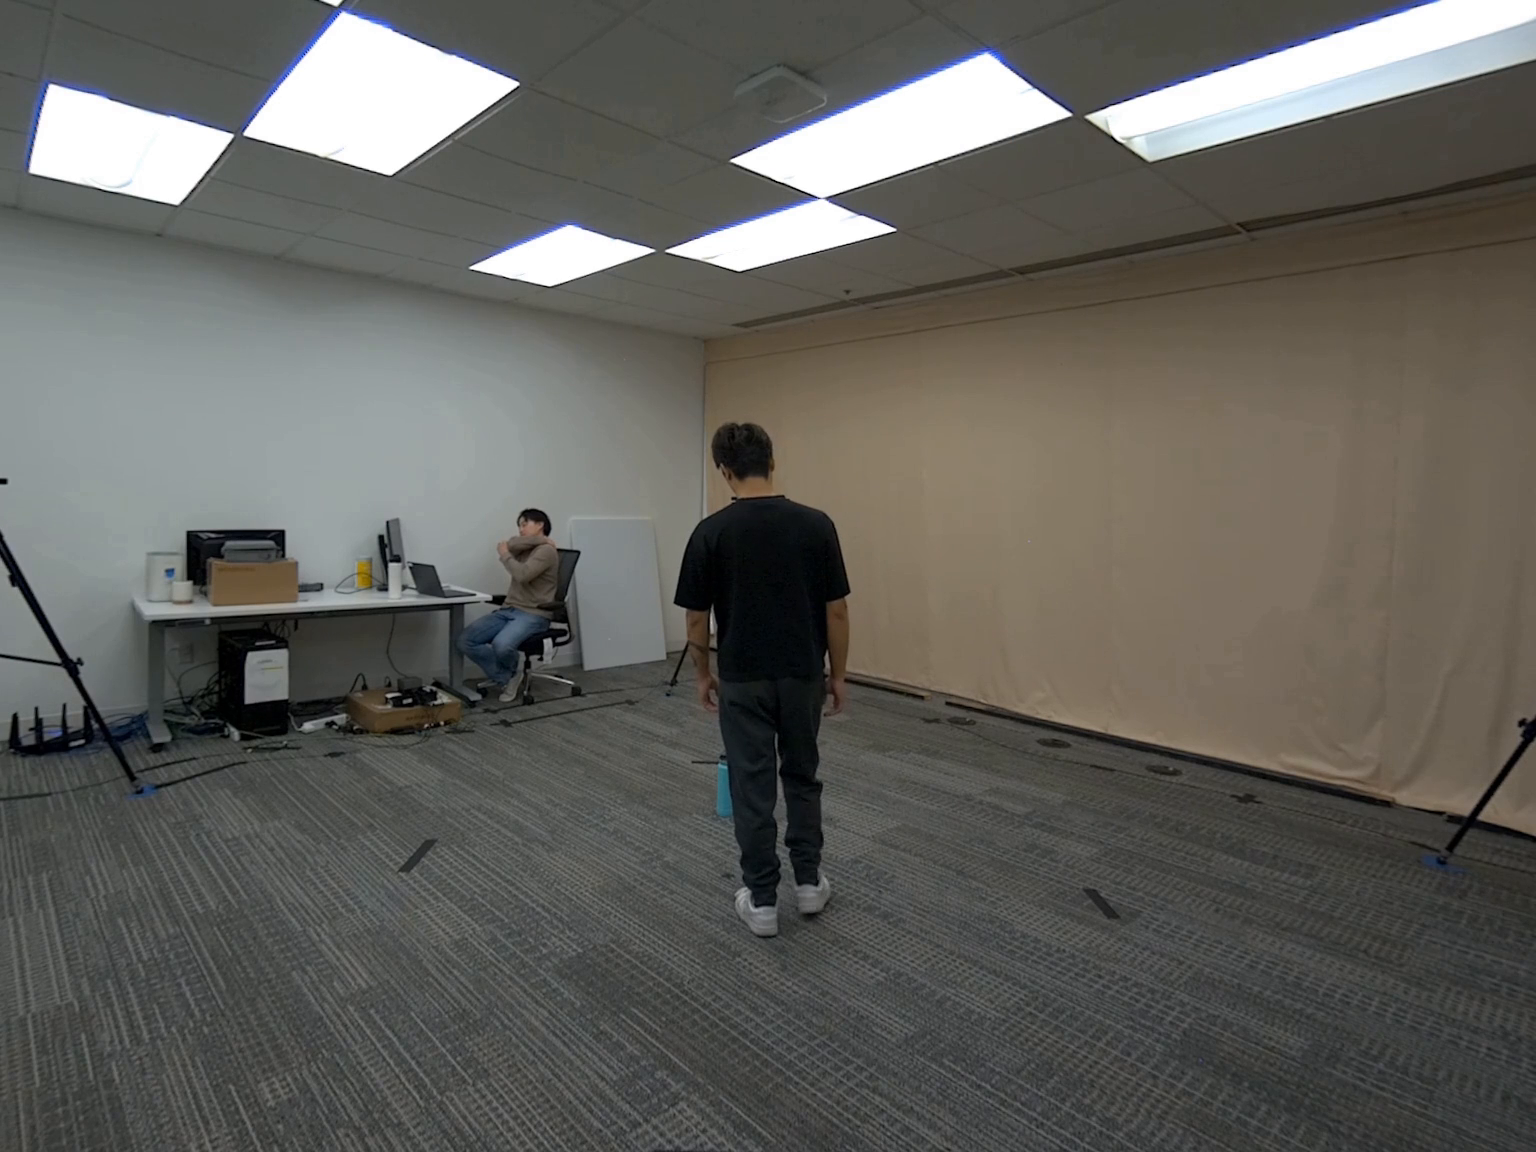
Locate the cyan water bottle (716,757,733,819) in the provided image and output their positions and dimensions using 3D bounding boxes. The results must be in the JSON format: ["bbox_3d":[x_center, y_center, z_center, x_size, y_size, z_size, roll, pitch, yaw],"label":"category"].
[{"bbox_3d":[-0.188,0.913,3.724,0.092,0.283,0.092,3,4,-2],"label":"cyan water bottle"}]
